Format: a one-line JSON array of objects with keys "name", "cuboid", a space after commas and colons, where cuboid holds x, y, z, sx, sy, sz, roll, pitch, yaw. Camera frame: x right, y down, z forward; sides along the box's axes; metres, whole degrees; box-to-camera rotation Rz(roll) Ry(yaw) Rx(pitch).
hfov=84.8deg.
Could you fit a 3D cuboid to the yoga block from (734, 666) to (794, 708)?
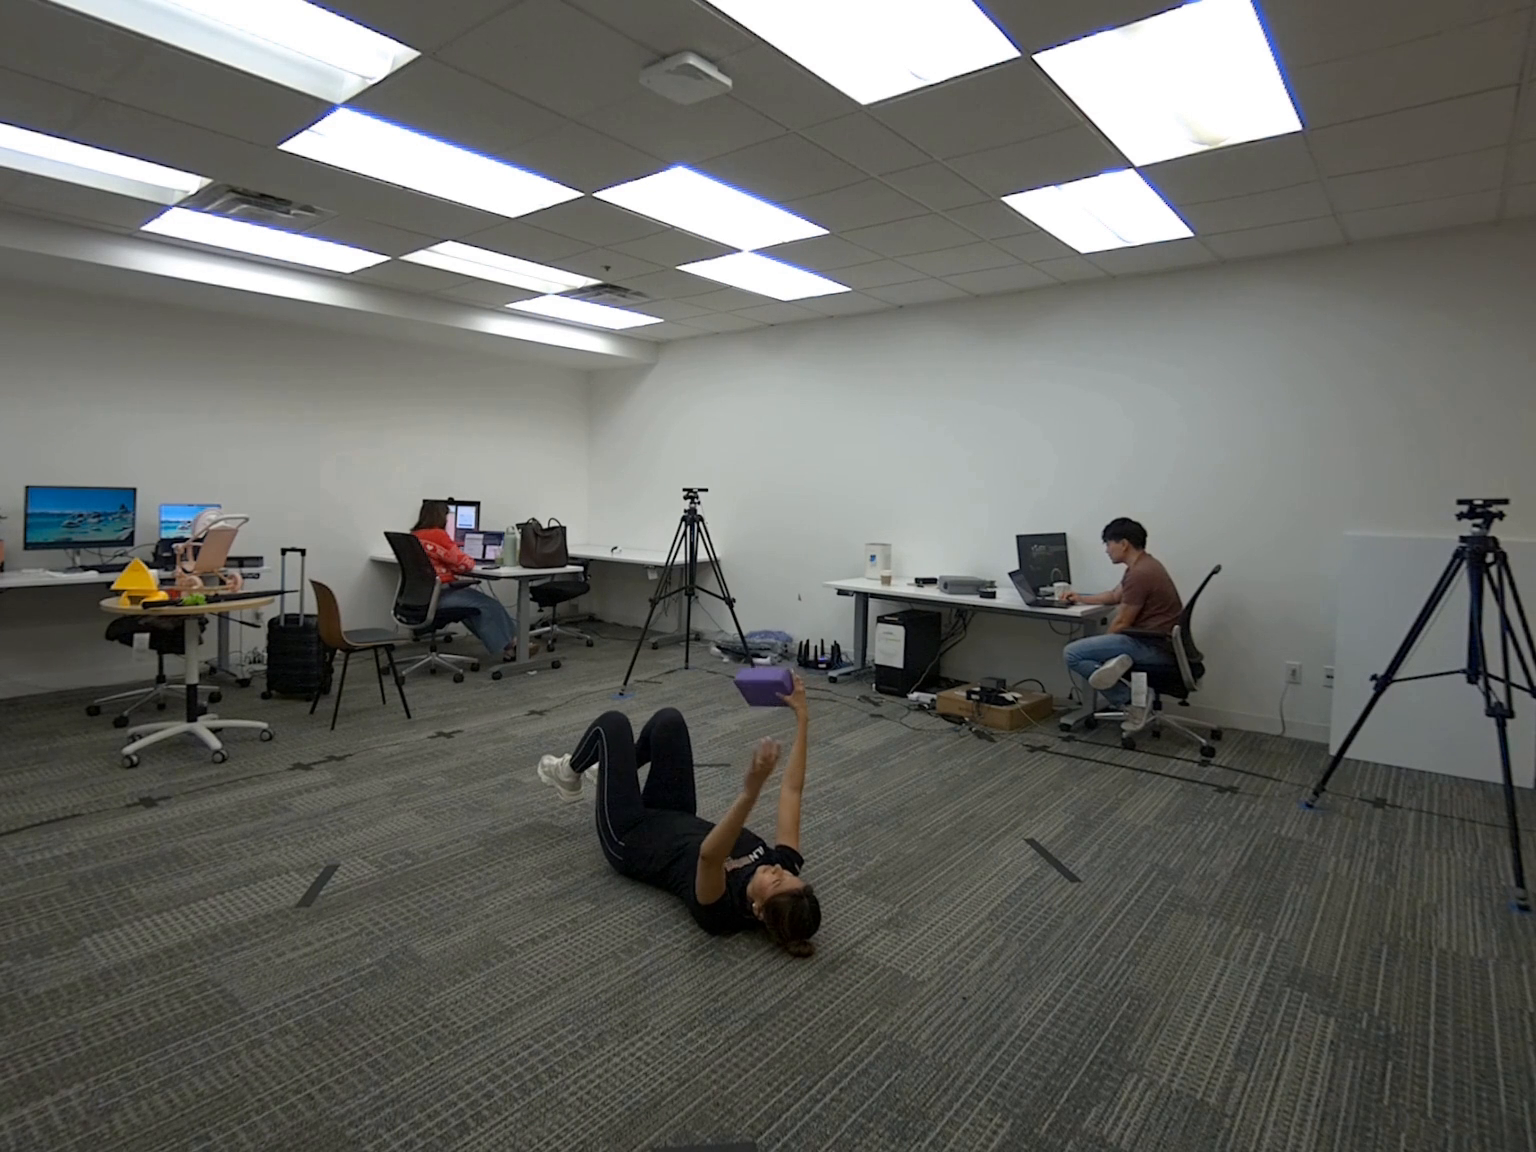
[{"name": "yoga block", "cuboid": [-0.006, 0.427, 3.152, 0.236, 0.143, 0.077, -3, 42, 35]}]
